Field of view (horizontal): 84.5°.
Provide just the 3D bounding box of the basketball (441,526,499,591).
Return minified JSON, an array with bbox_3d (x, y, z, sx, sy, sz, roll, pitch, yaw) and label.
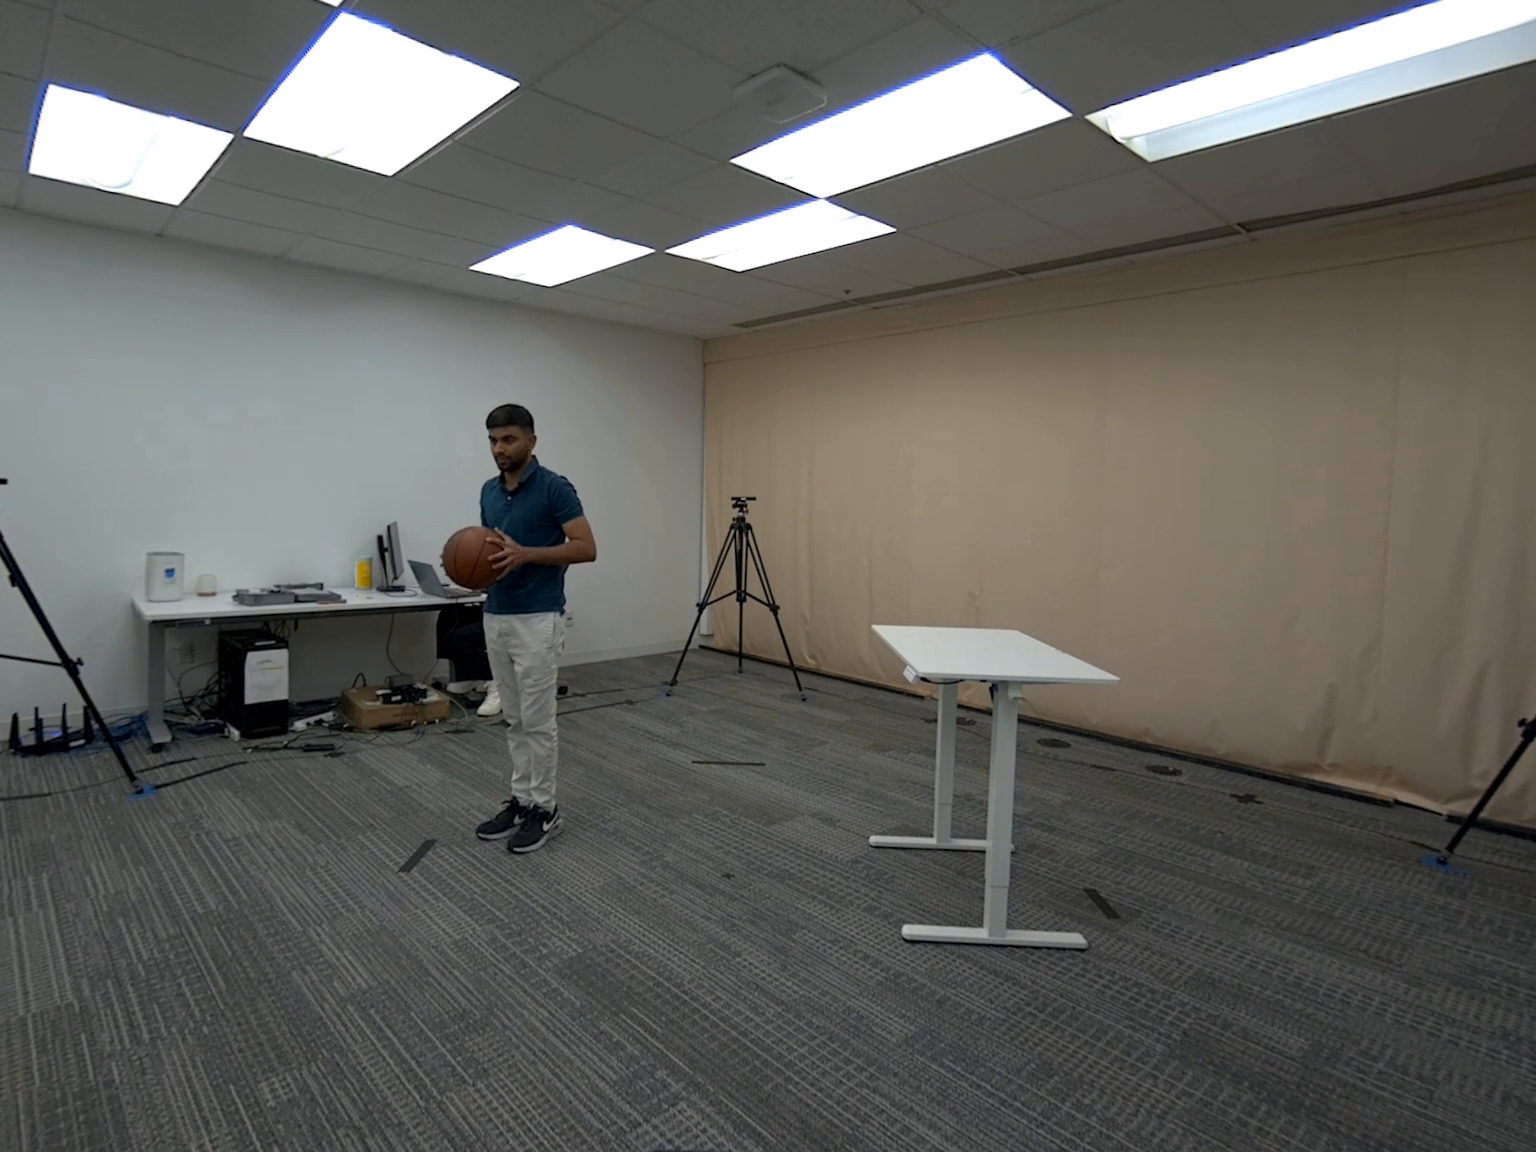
[{"bbox_3d":[-1.118,-0.069,3.160,0.236,0.235,0.237,1,4,-1],"label":"basketball"}]
